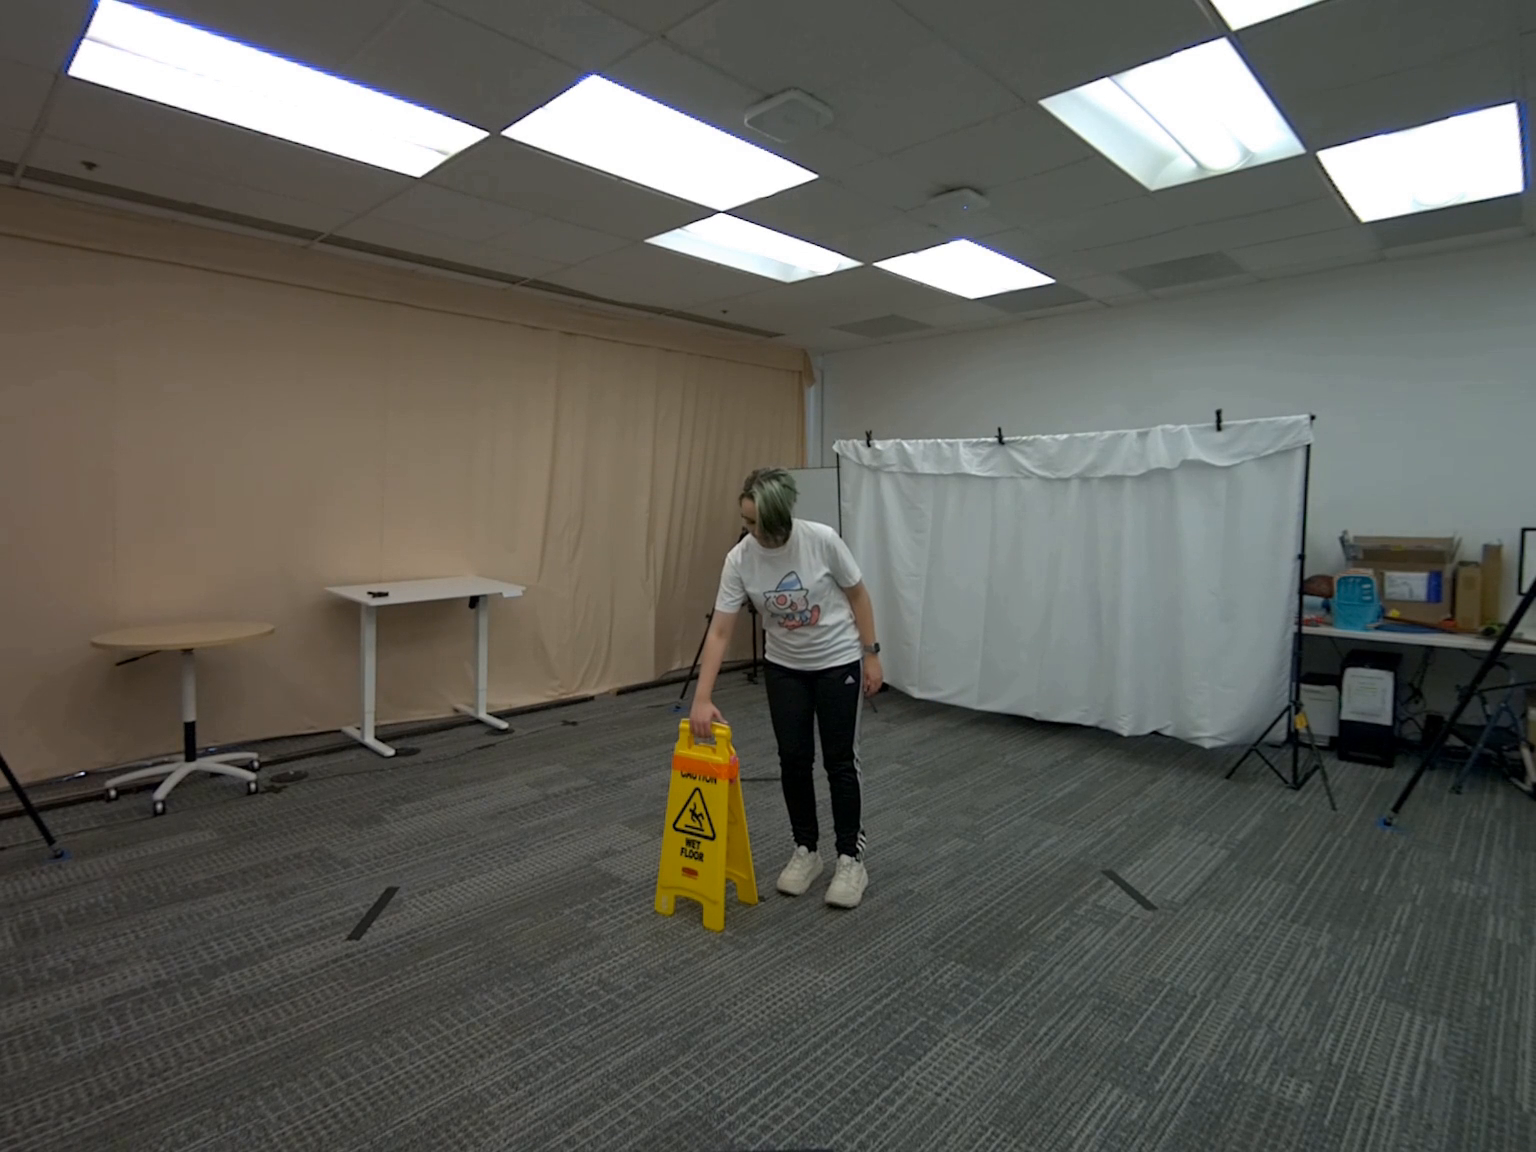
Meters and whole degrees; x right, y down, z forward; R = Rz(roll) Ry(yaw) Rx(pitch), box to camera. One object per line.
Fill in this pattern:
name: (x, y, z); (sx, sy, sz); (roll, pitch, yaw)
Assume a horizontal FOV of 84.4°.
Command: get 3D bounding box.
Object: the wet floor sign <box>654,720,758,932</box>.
wet floor sign: (-0.213, 0.825, 2.901); (0.291, 0.644, 0.282); (1, 4, 33)
